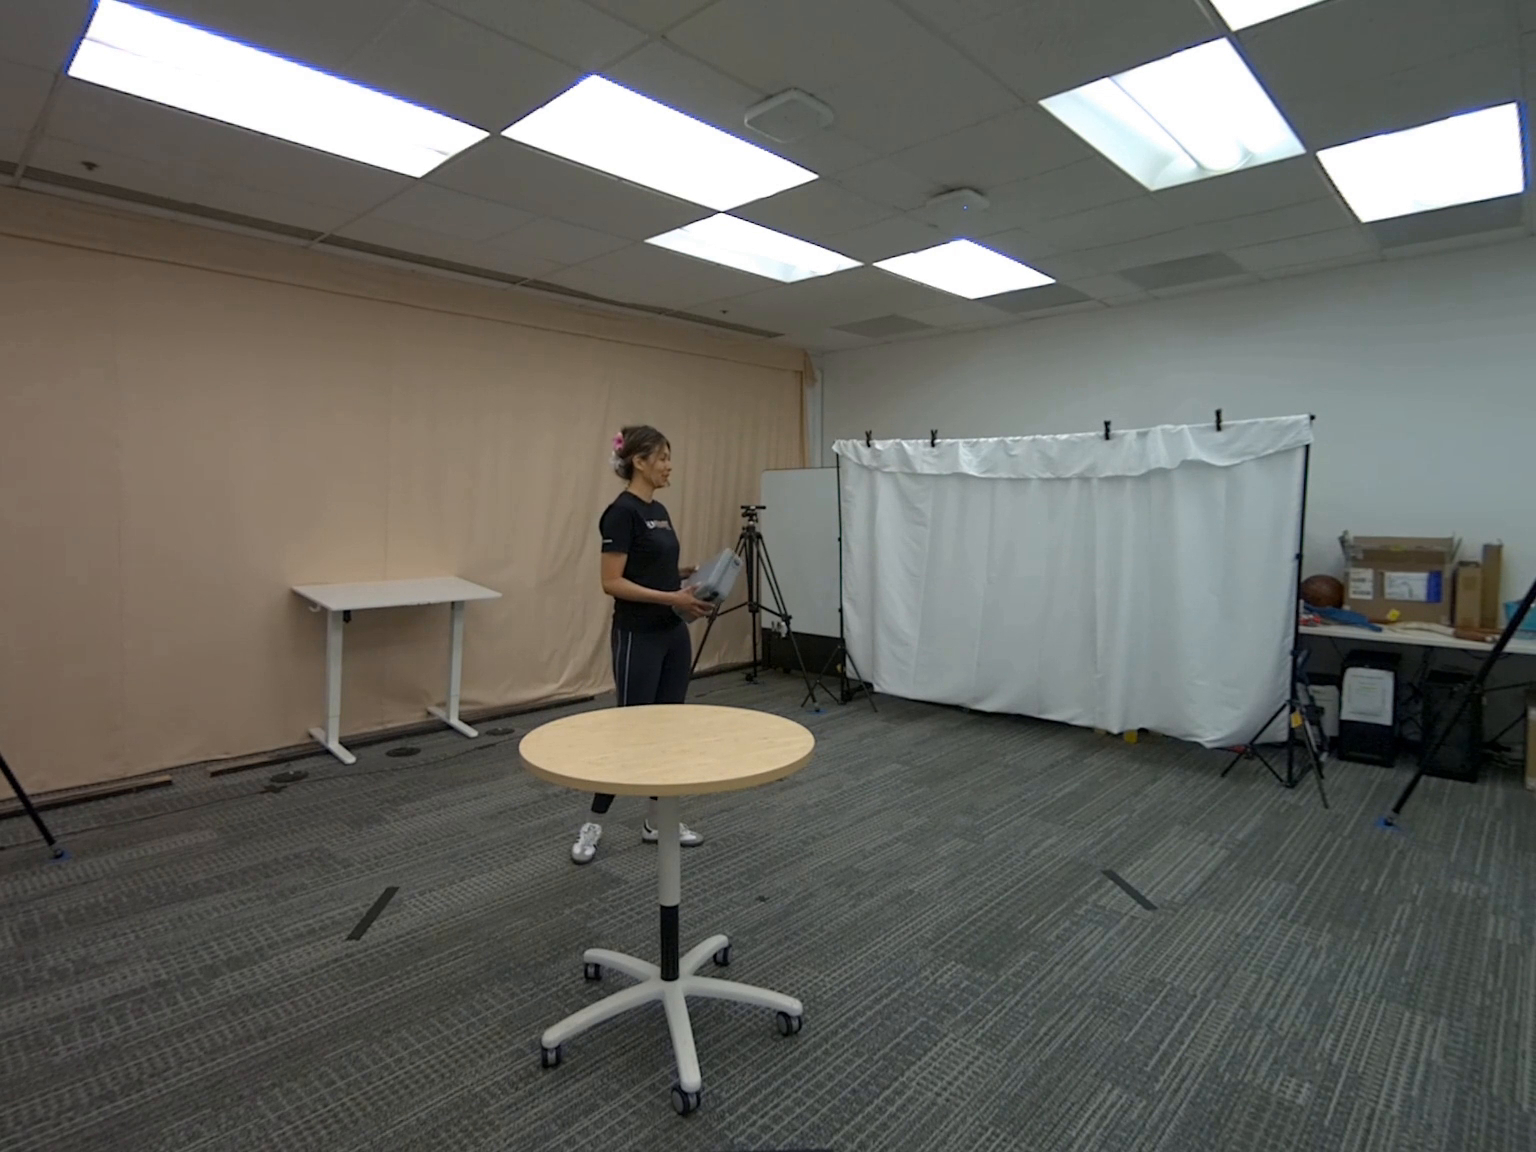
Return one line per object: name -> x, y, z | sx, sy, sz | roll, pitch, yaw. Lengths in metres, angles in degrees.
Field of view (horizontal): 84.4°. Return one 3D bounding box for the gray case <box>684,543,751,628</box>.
gray case -> -0.231, 0.039, 3.298 | 0.261, 0.103, 0.260 | -33, 19, 42
